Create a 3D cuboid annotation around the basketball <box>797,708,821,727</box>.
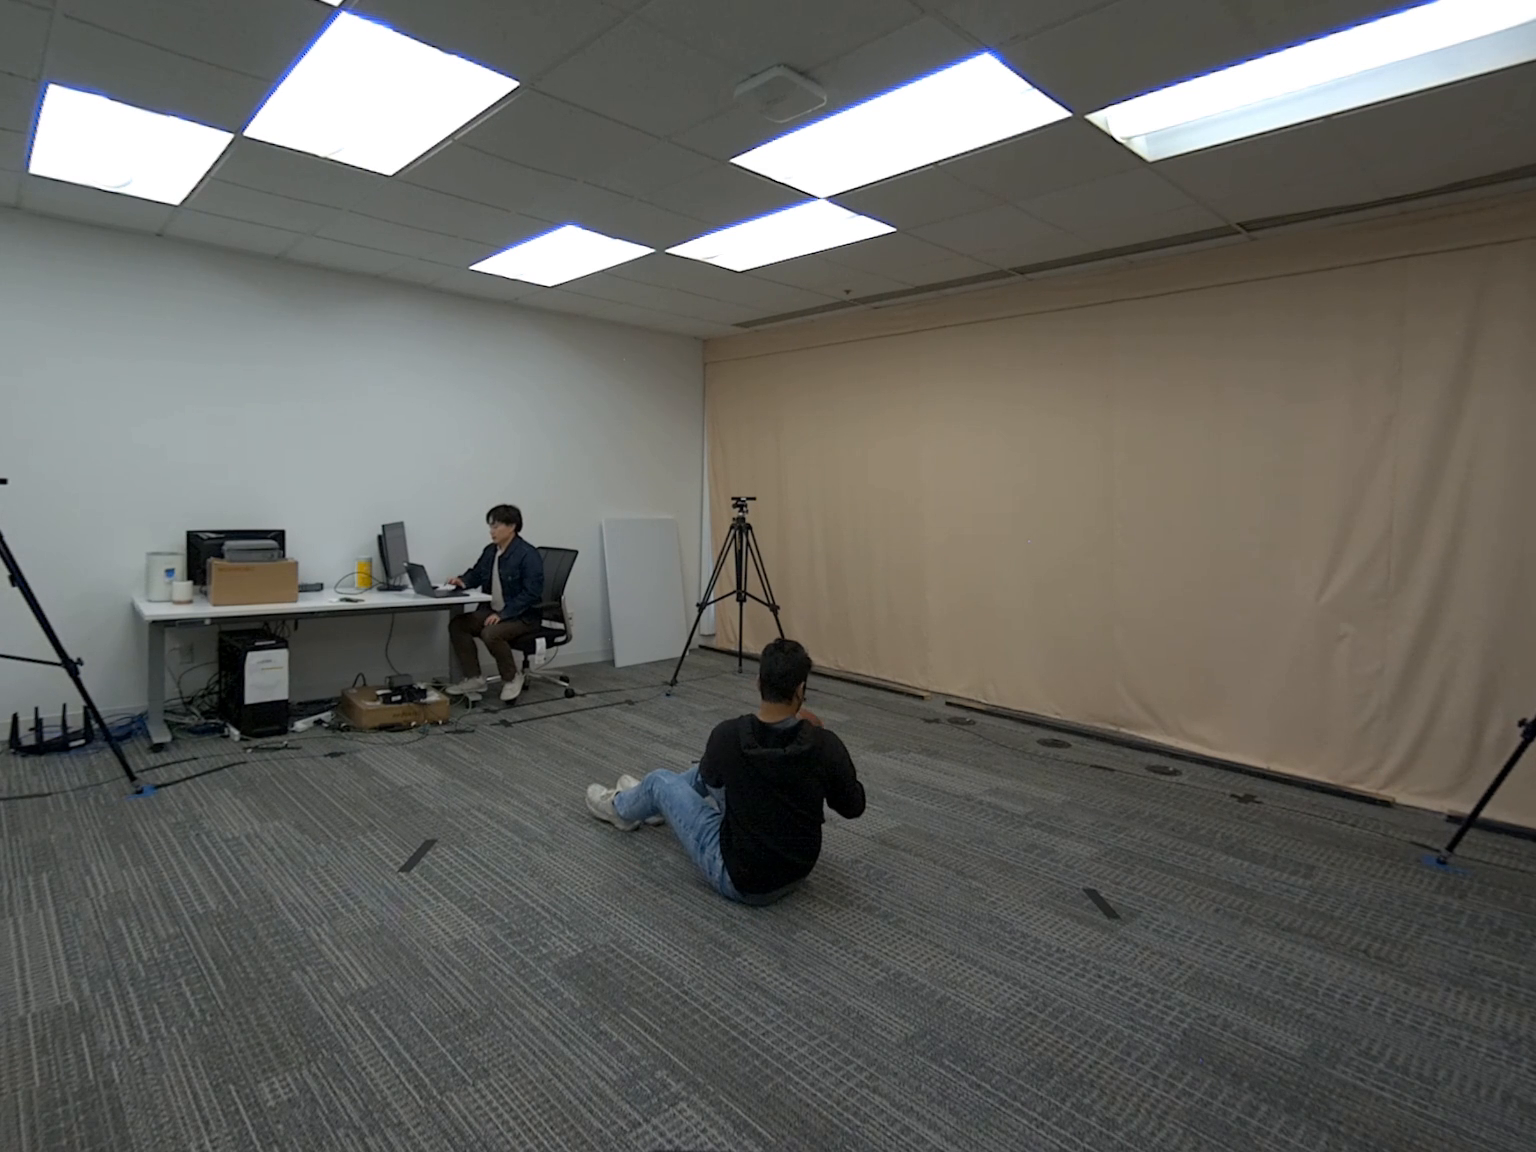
[{"bbox_3d":[0.088,0.660,3.378,0.236,0.235,0.237,1,4,-1],"label":"basketball"}]
